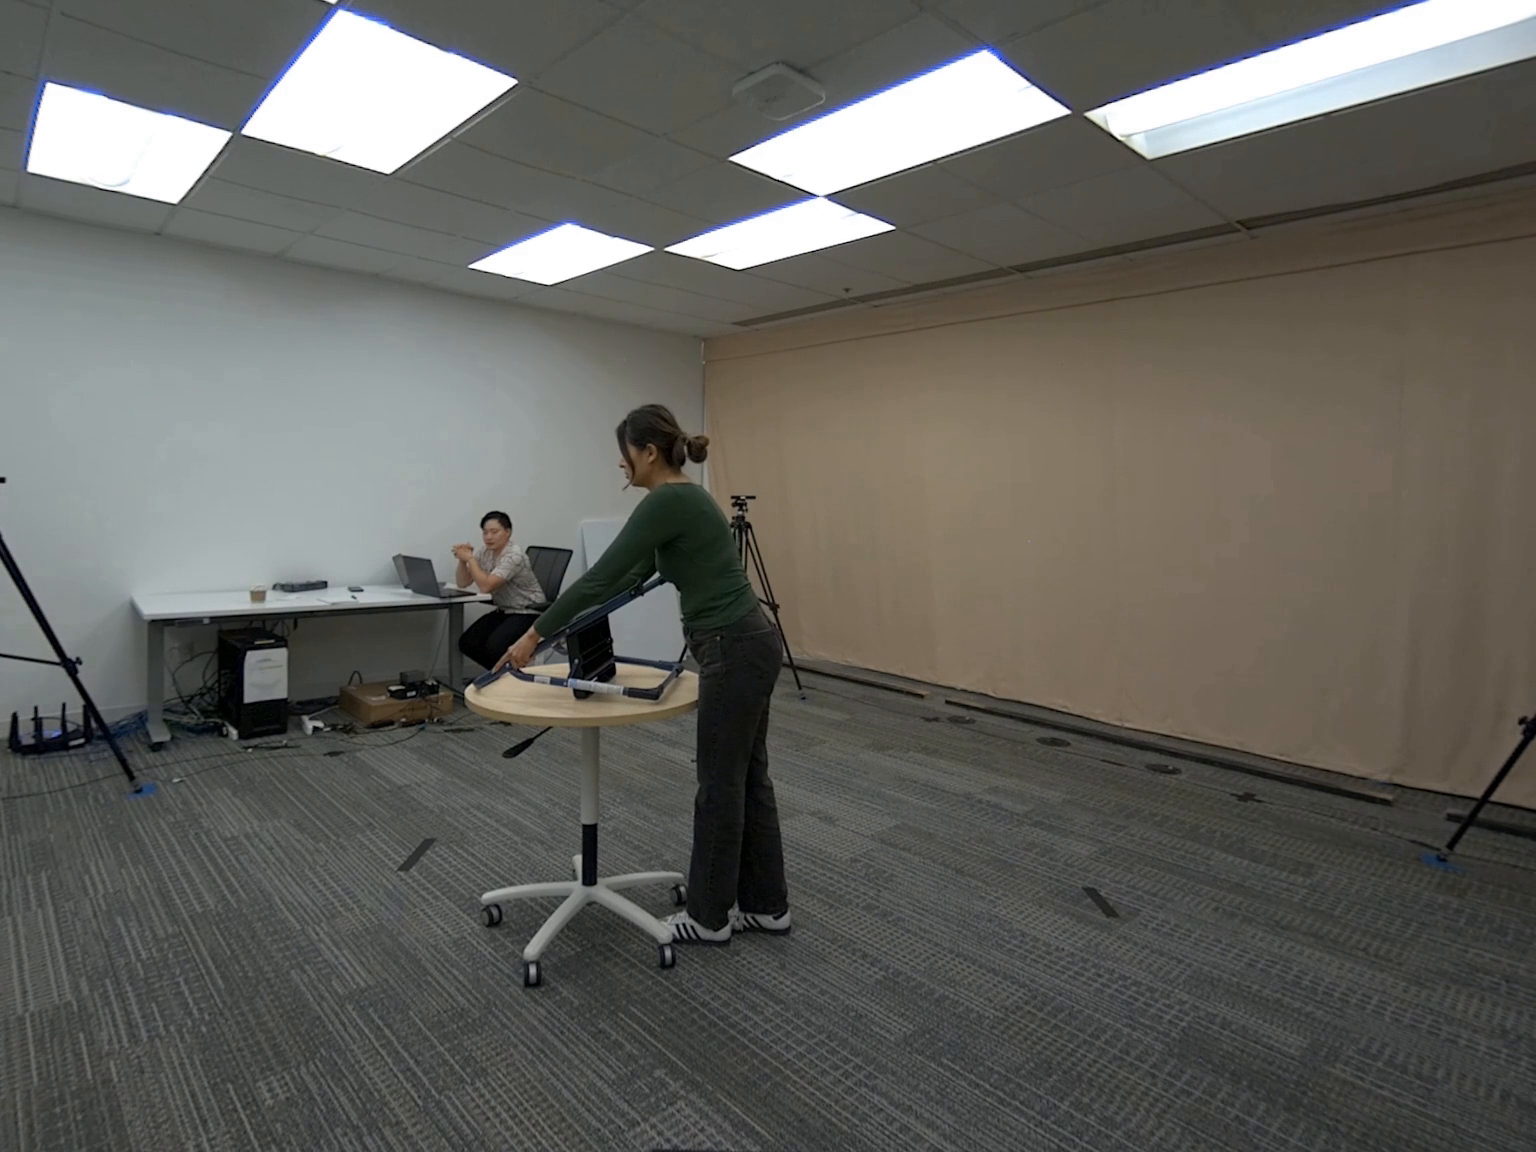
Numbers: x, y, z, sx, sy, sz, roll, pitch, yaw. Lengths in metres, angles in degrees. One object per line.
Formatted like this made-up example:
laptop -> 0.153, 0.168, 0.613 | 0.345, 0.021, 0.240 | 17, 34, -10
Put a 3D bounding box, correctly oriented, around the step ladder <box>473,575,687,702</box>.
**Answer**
step ladder -> -0.625, 0.214, 2.667 | 0.609, 0.349, 0.429 | -9, 2, 8
